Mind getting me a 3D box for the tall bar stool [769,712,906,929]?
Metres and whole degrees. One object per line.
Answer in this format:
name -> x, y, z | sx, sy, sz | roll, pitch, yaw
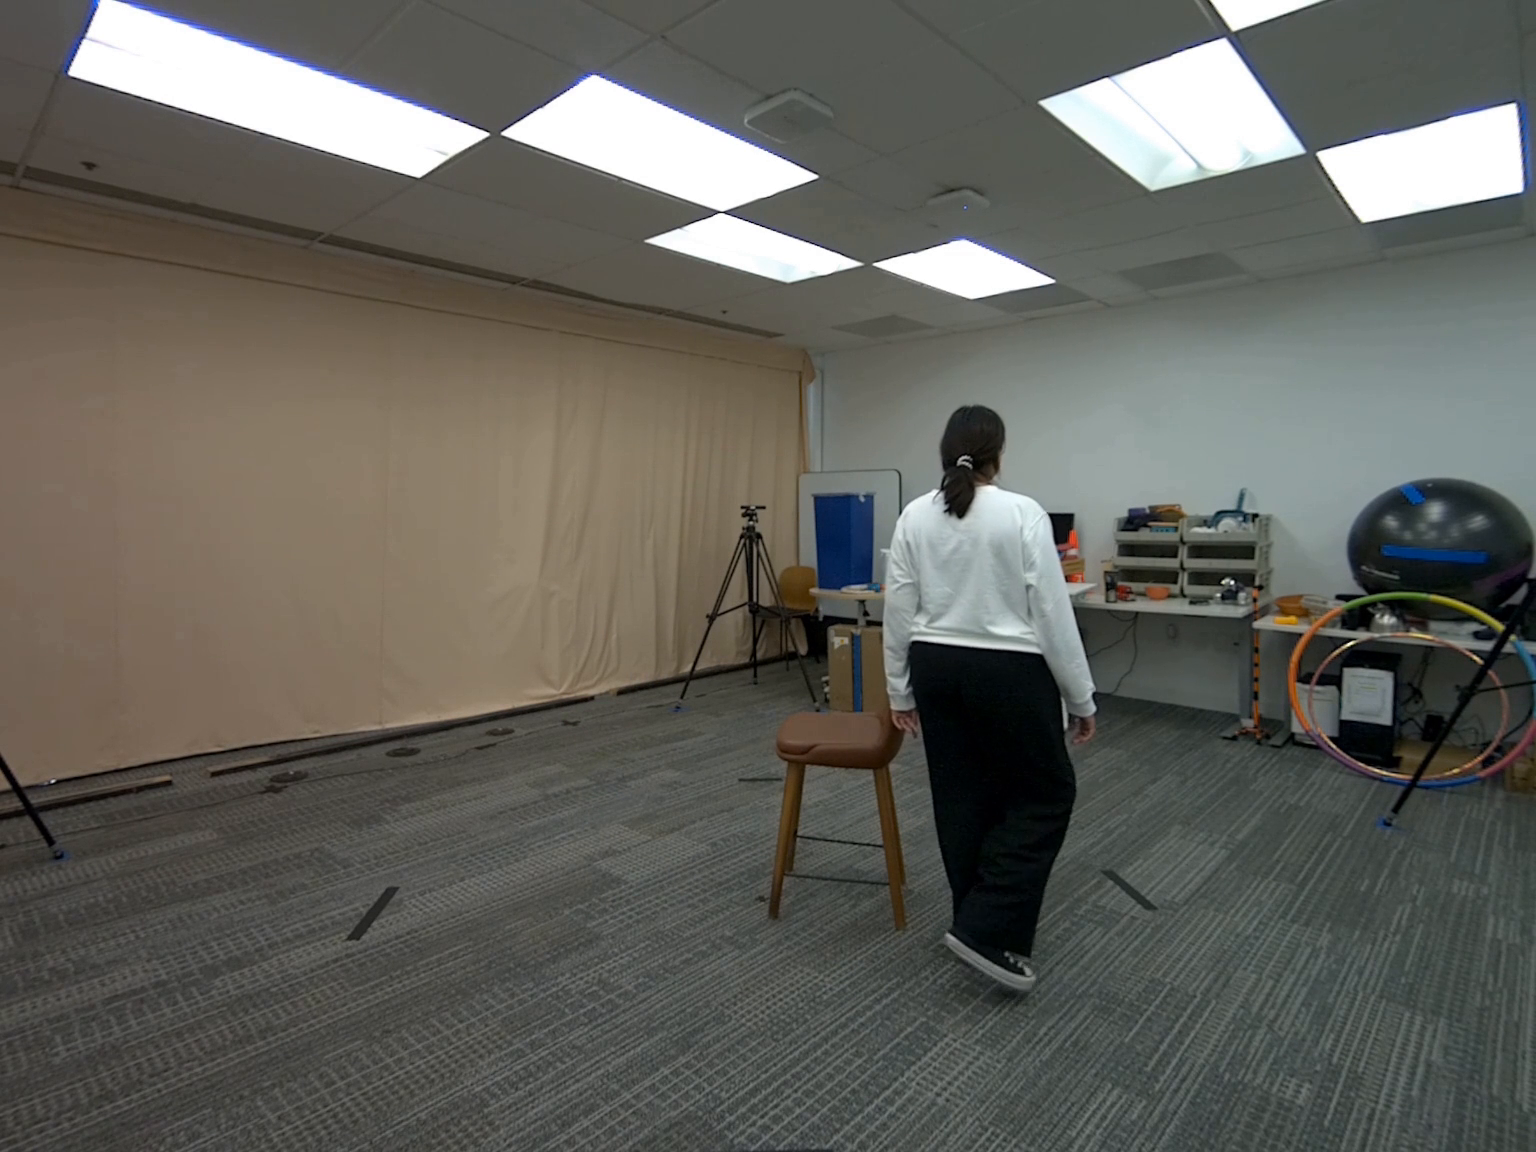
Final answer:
tall bar stool -> 0.272, 0.709, 2.963 | 0.474, 0.888, 0.451 | 3, 4, 12
